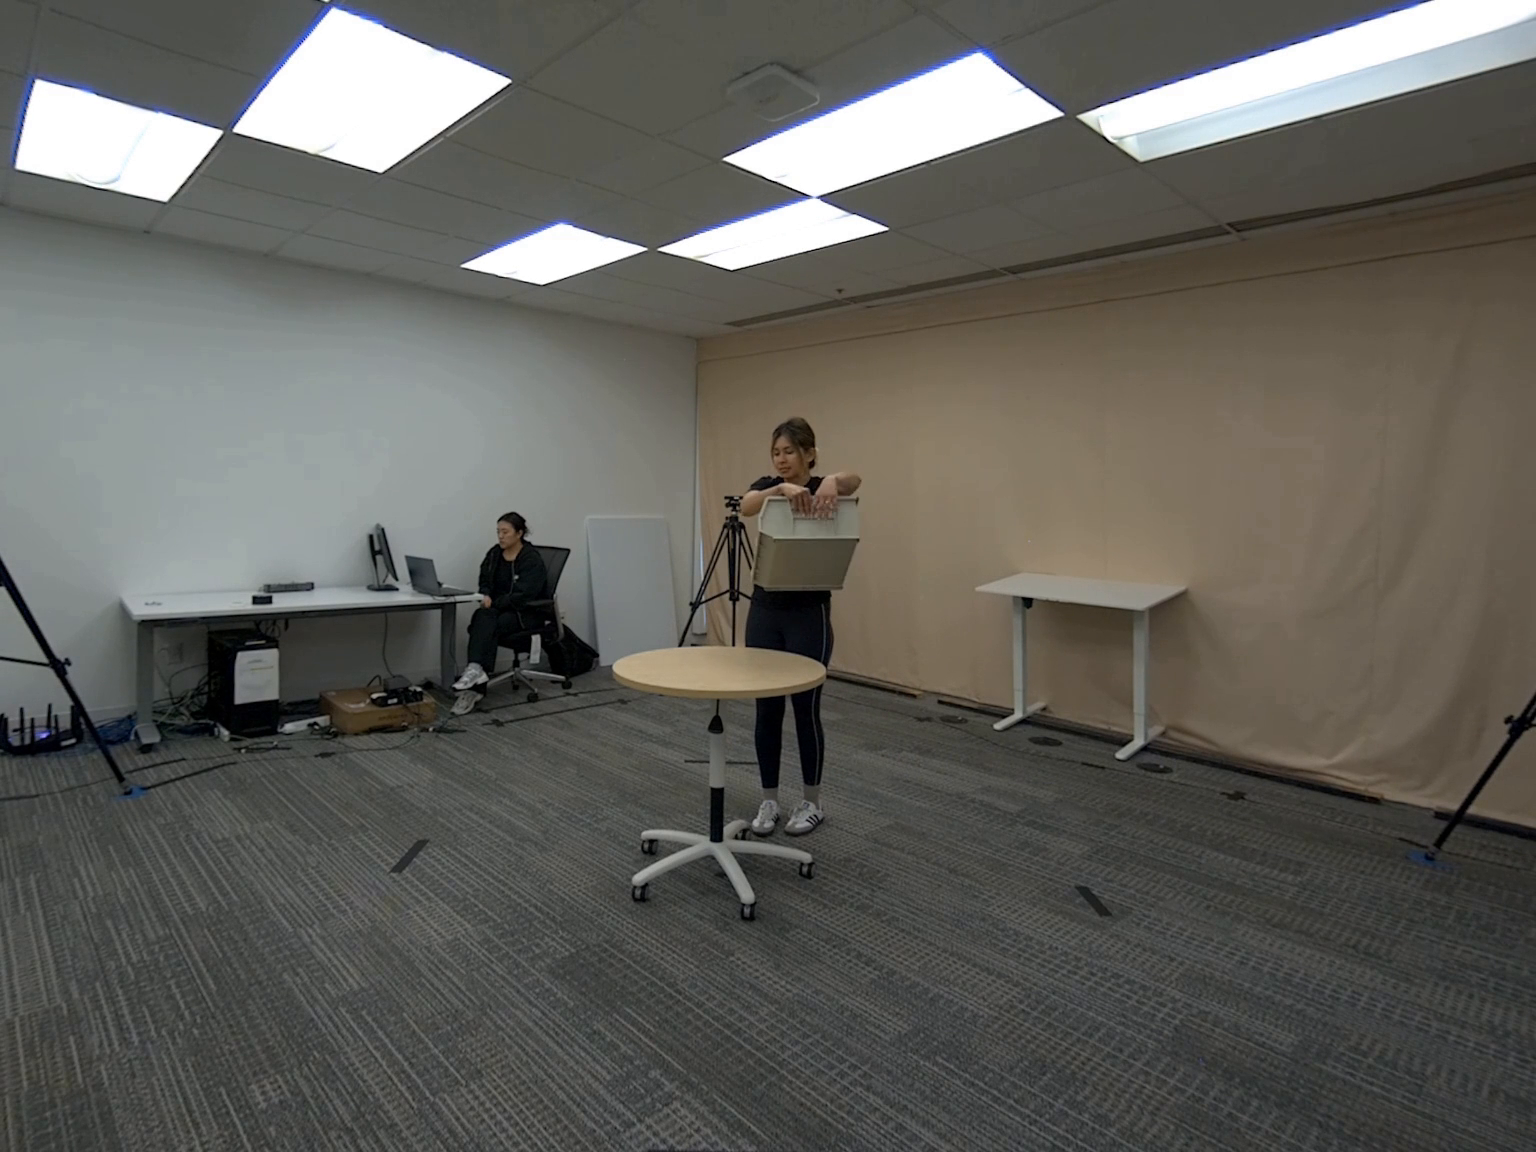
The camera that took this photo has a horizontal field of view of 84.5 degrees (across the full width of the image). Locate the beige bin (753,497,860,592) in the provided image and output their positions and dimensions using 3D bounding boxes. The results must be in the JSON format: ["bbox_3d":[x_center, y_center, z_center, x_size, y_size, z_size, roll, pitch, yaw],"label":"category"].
[{"bbox_3d":[0.115,-0.121,3.239,0.376,0.192,0.415,2,-29,-3],"label":"beige bin"}]
